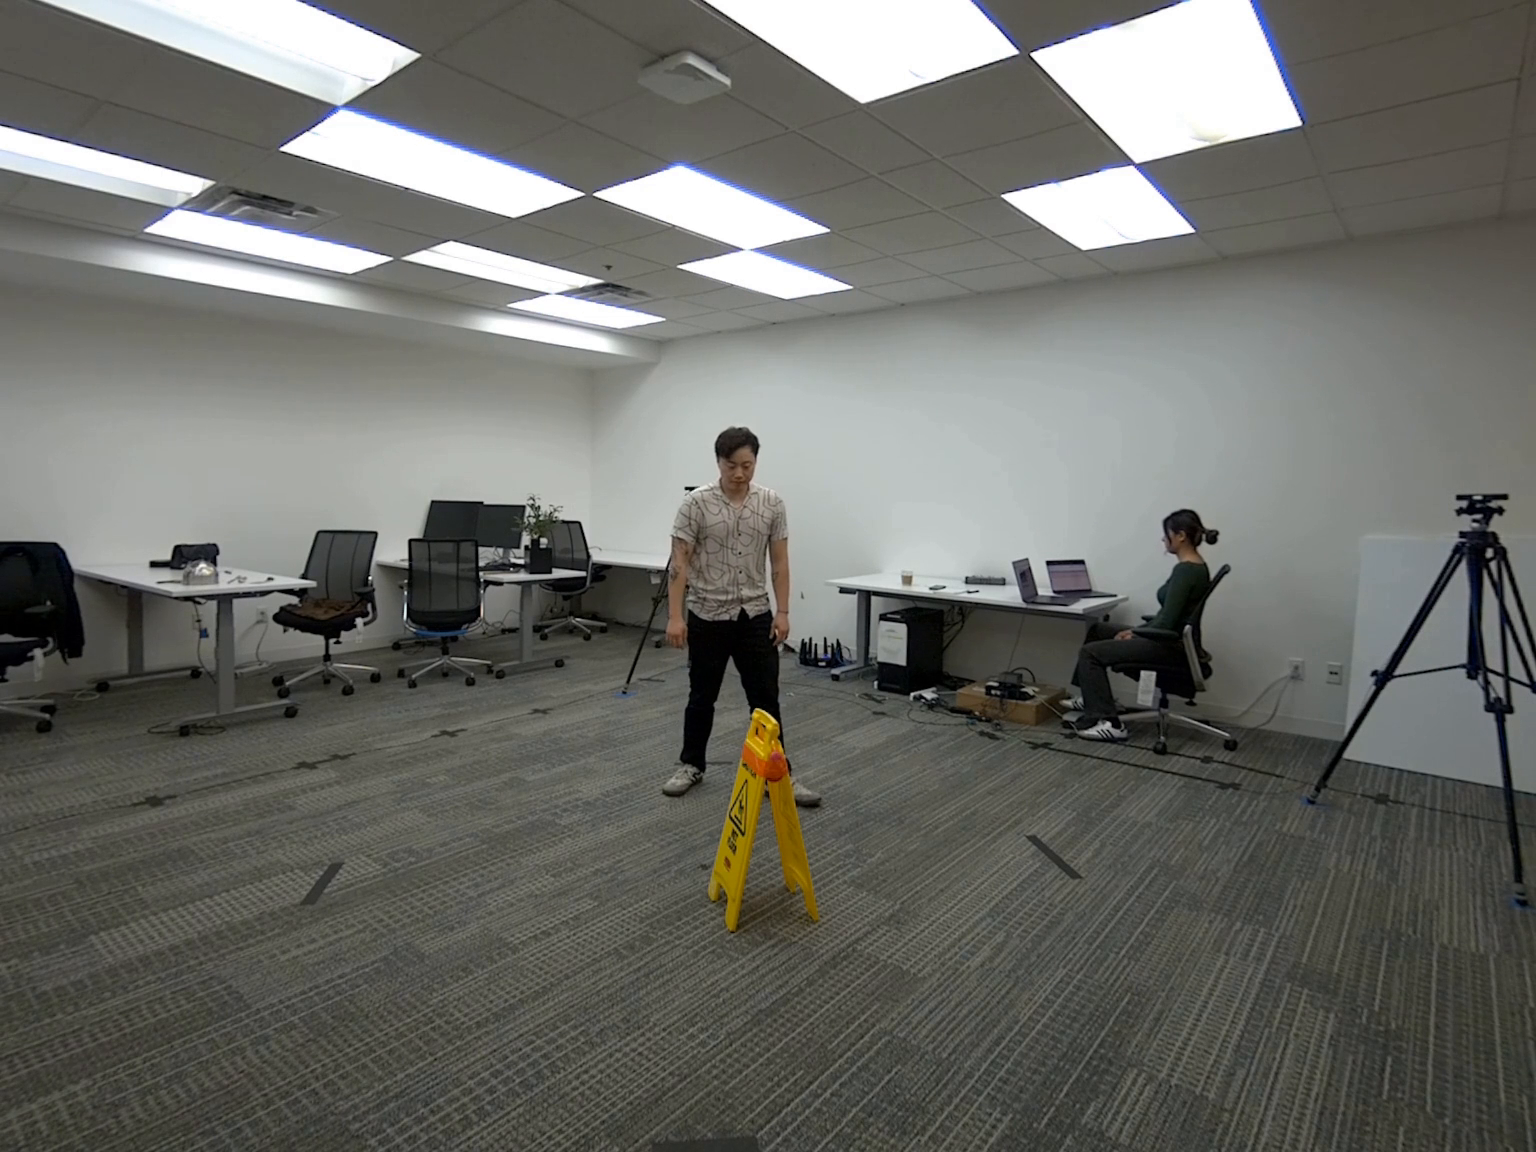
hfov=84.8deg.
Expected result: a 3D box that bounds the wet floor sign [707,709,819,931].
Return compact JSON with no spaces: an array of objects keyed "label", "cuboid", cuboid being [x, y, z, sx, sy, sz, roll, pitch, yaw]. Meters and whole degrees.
[{"label":"wet floor sign","cuboid":[-0.022,0.770,2.810,0.284,0.644,0.288,1,3,-18]}]
